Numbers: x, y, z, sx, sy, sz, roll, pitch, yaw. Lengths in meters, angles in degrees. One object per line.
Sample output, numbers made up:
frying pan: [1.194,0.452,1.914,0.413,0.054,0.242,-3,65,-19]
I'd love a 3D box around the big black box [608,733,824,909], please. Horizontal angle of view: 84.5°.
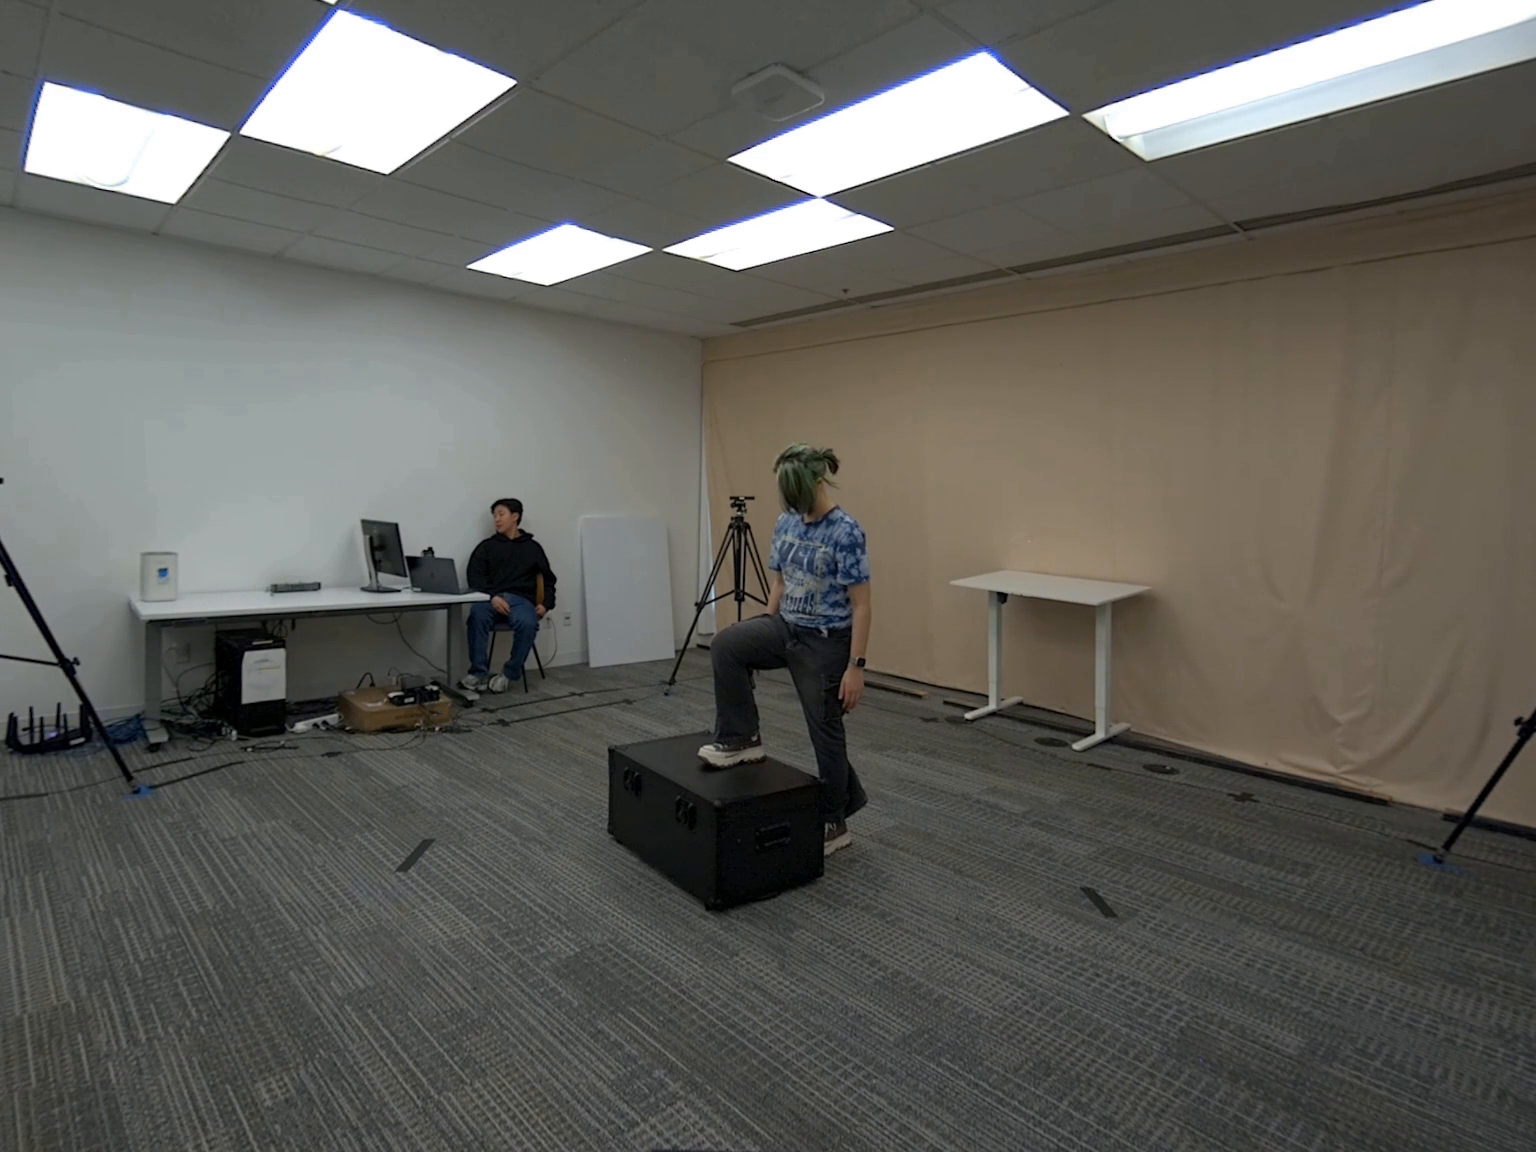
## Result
big black box: [-0.242,0.898,3.255,0.510,0.395,0.883,-2,6,-37]
